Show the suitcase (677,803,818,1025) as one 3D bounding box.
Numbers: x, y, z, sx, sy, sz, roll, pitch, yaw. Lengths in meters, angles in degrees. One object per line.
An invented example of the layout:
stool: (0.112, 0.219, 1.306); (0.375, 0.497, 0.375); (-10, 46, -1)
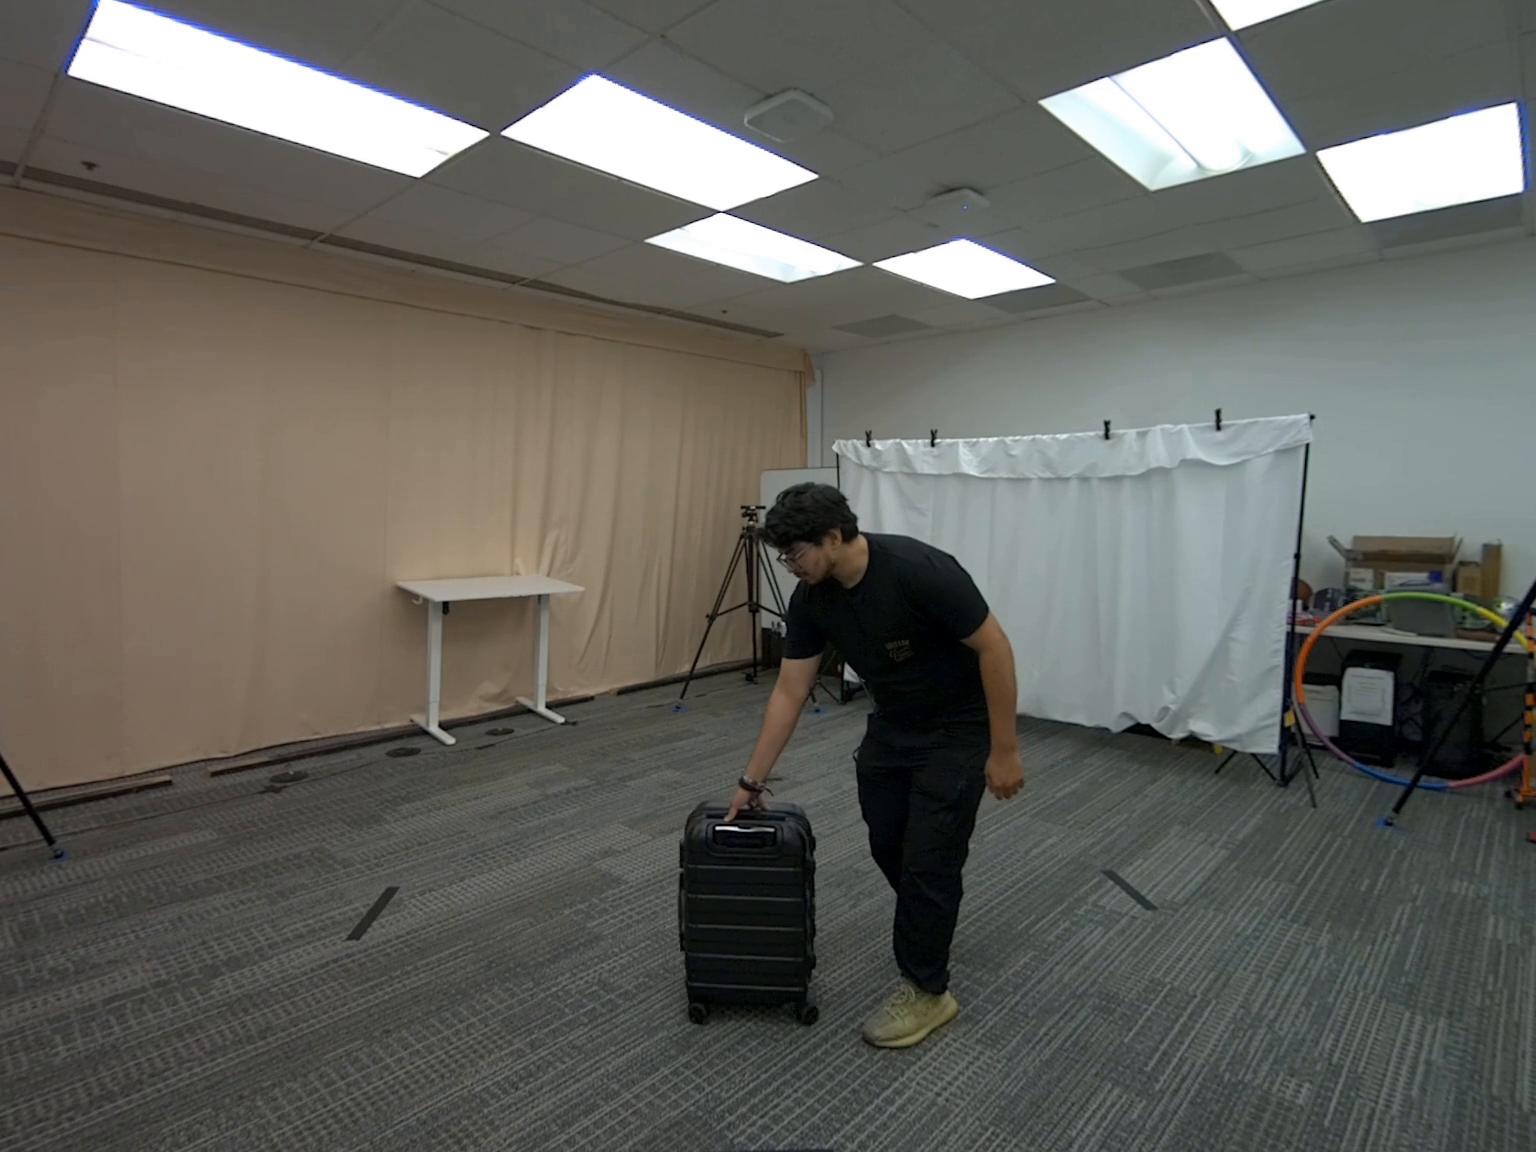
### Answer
suitcase: (-0.052, 0.921, 2.366); (0.378, 0.549, 0.247); (-1, 1, 5)
